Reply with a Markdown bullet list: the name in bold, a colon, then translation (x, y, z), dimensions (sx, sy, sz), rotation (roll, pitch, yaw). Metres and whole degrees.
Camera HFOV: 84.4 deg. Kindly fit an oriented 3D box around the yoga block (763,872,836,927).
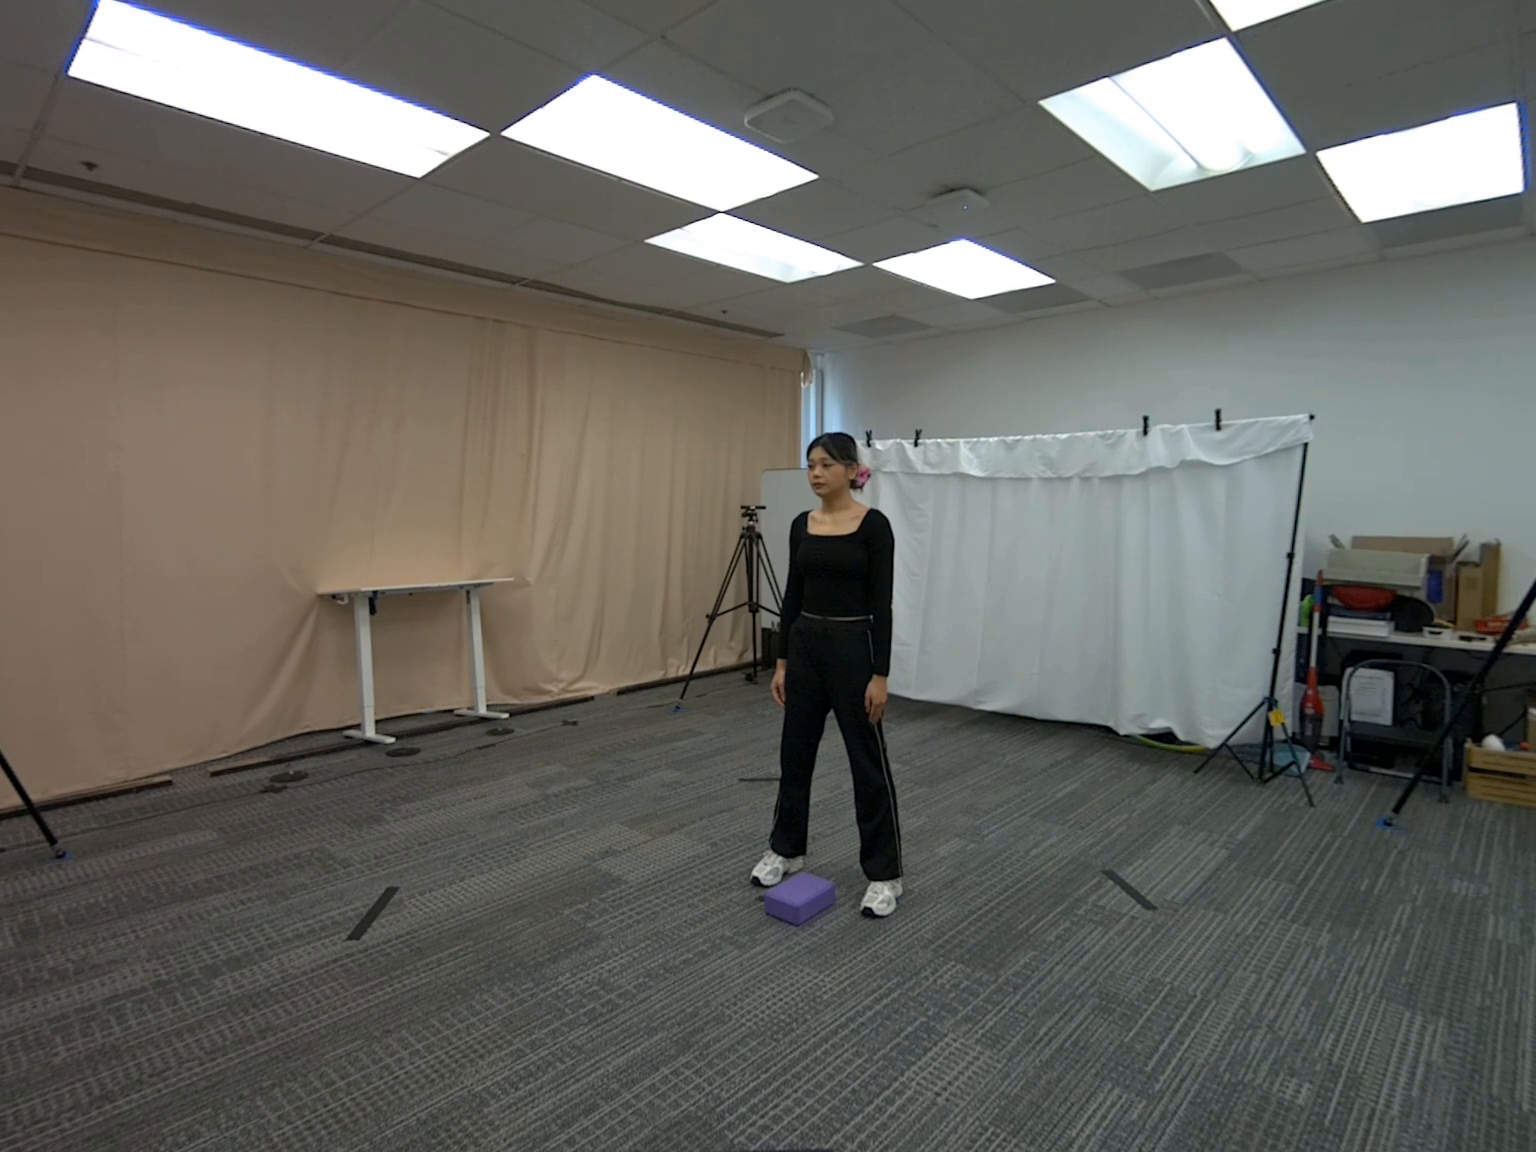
- **yoga block**: translation (0.111, 1.107, 2.909), dimensions (0.154, 0.076, 0.223), rotation (5, 8, 38)
